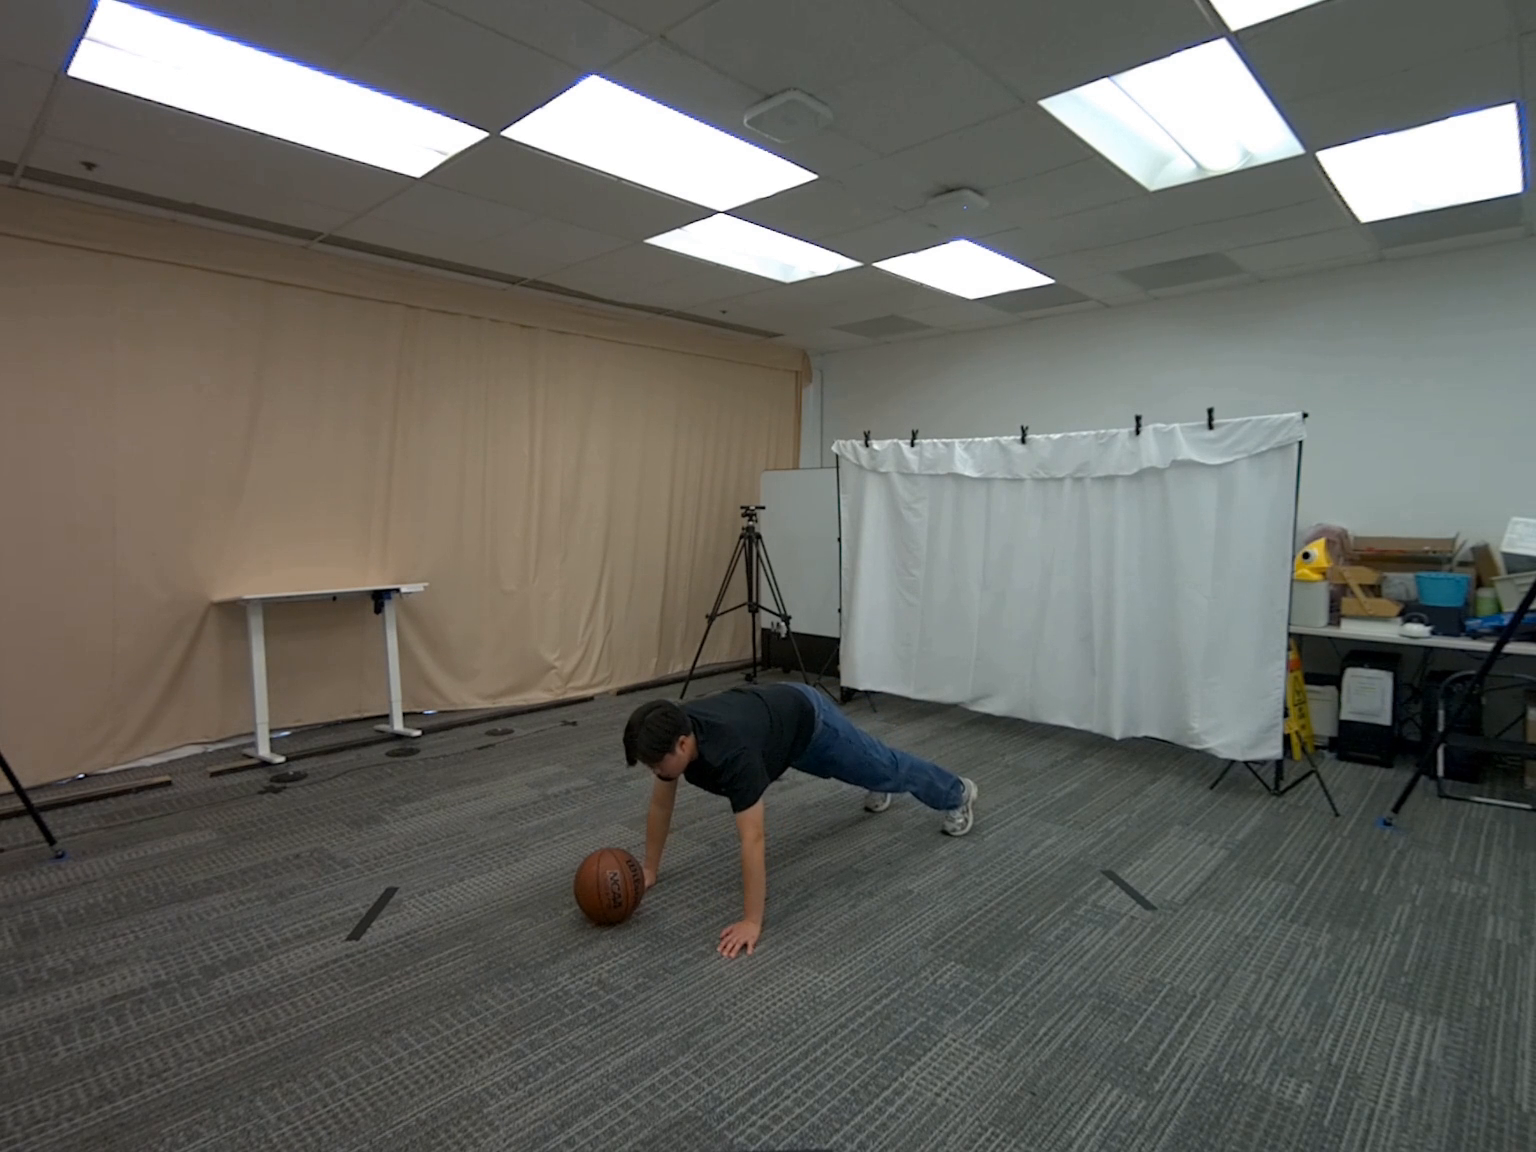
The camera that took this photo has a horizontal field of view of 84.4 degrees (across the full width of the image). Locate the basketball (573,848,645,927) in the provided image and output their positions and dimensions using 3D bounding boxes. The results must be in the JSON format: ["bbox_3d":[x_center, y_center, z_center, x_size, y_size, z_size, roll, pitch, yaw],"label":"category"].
[{"bbox_3d":[-0.538,1.040,2.833,0.236,0.235,0.237,0,4,-2],"label":"basketball"}]
